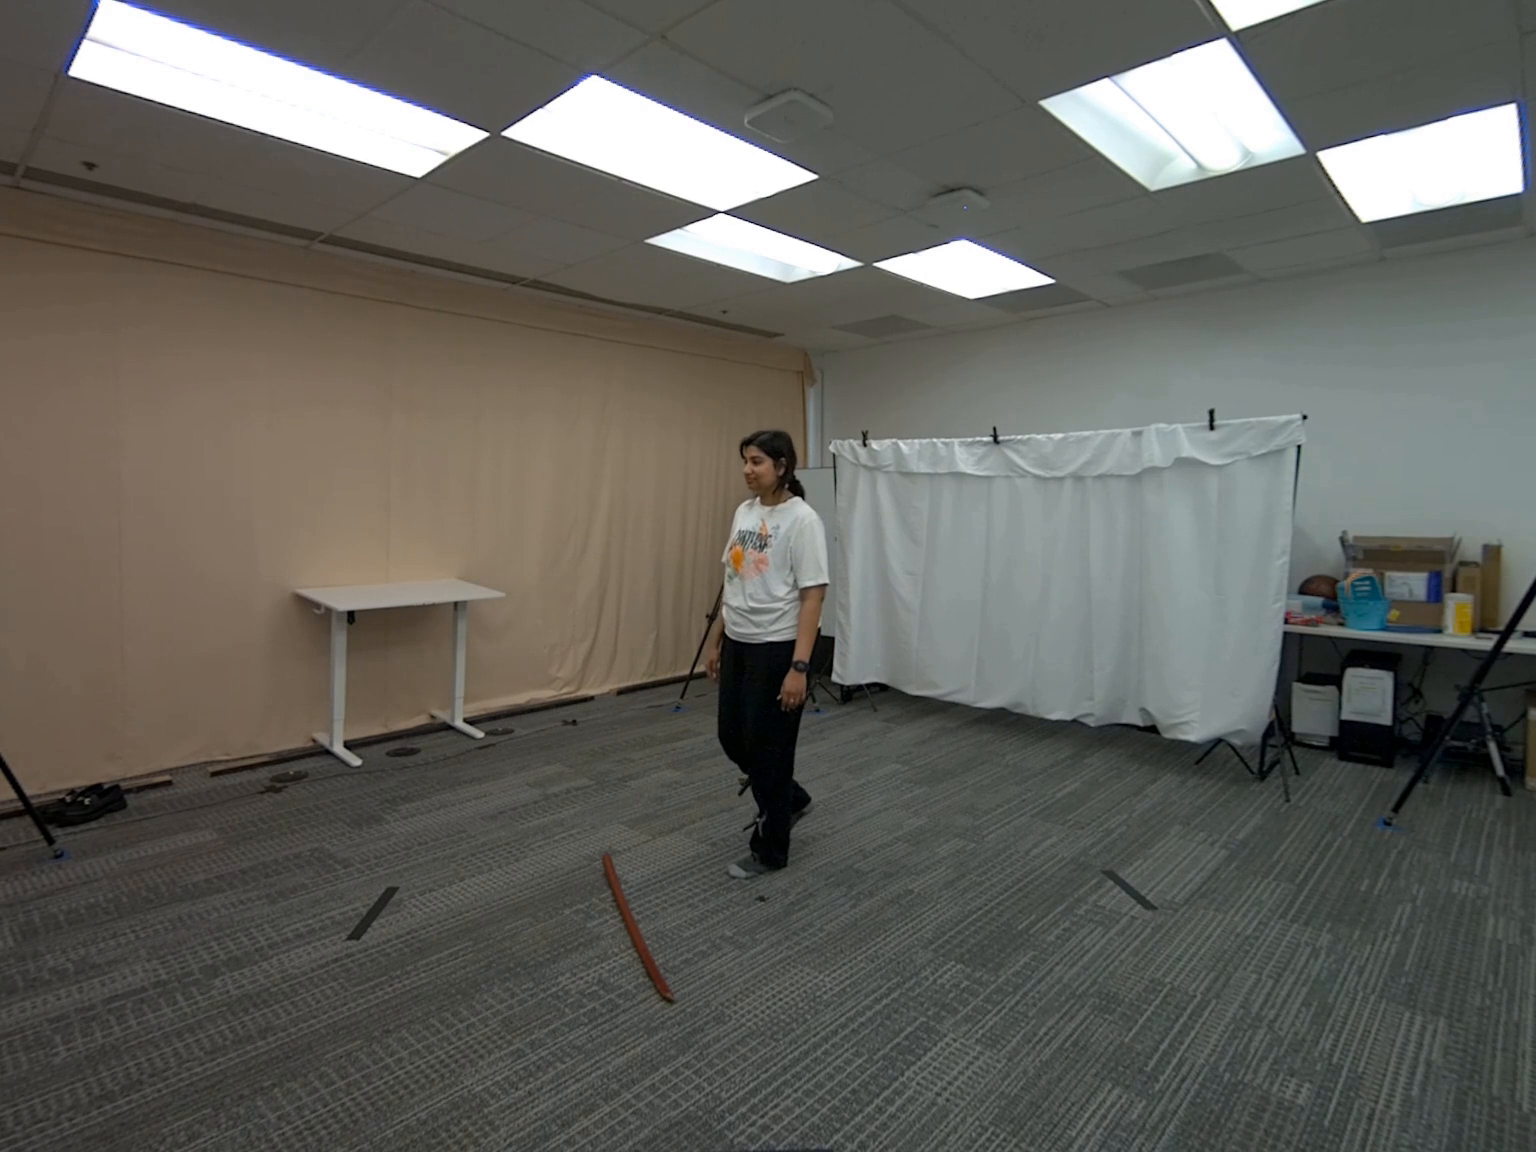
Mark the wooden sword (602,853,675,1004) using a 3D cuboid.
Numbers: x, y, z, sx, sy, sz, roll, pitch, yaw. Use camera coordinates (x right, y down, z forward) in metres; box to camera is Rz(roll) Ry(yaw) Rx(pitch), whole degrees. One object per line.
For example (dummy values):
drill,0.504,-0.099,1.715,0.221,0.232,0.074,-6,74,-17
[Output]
wooden sword,-0.449,1.136,2.836,0.050,0.024,1.047,-1,4,-20
